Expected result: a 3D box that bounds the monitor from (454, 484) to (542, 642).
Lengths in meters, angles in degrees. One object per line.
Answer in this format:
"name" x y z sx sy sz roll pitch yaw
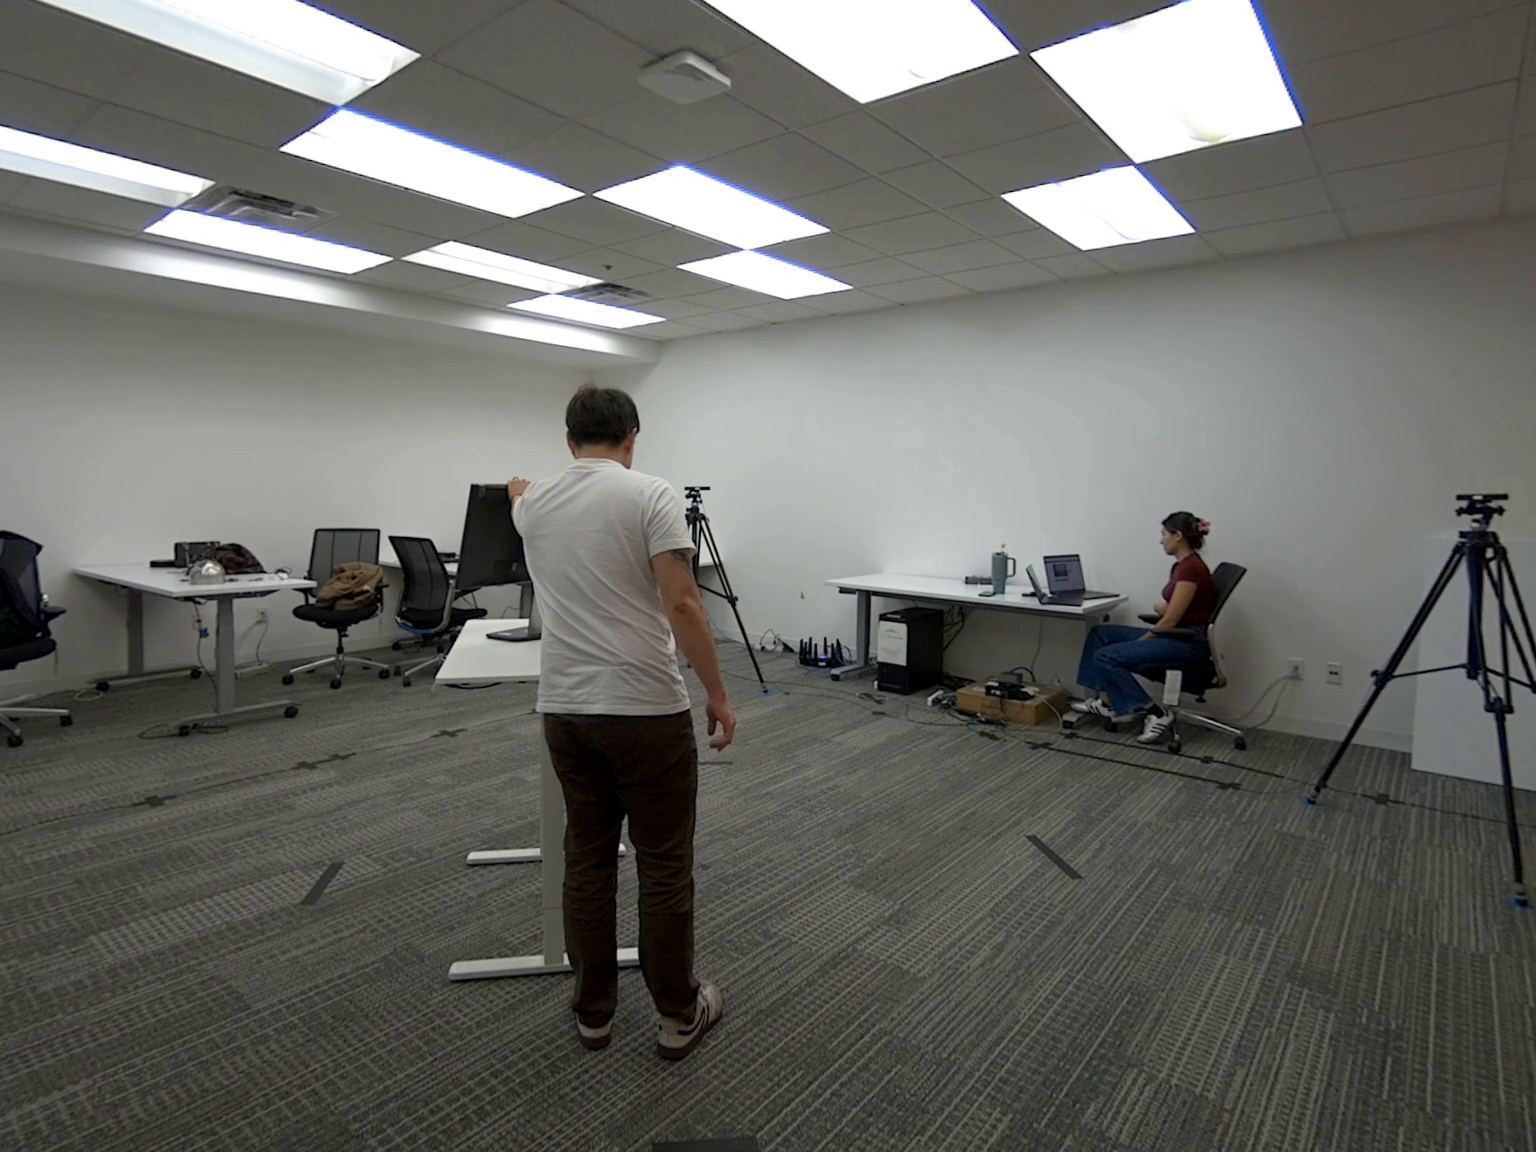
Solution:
"monitor" -0.809 -0.051 2.878 0.193 0.520 0.525 4 6 33
